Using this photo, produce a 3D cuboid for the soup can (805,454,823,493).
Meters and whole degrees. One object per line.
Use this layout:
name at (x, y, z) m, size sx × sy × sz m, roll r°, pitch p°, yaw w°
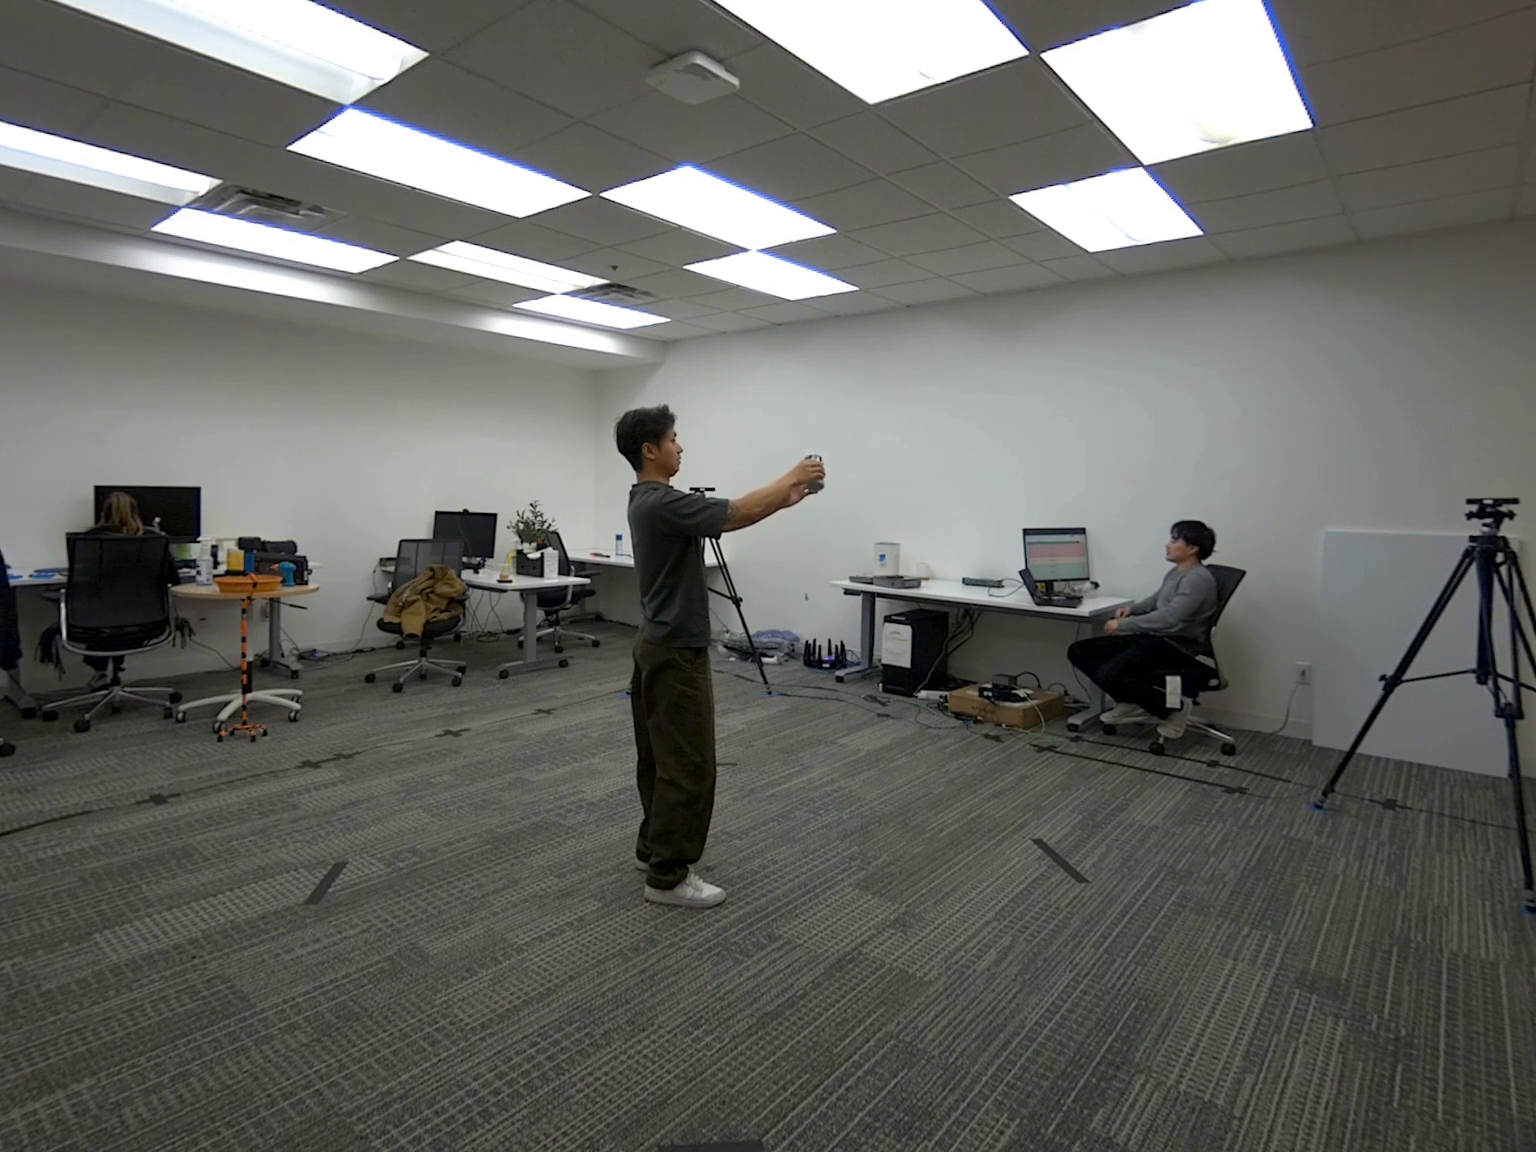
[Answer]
soup can at (0.158, -0.369, 3.036) m, size 0.067 × 0.124 × 0.066 m, roll -3°, pitch -25°, yaw -3°
